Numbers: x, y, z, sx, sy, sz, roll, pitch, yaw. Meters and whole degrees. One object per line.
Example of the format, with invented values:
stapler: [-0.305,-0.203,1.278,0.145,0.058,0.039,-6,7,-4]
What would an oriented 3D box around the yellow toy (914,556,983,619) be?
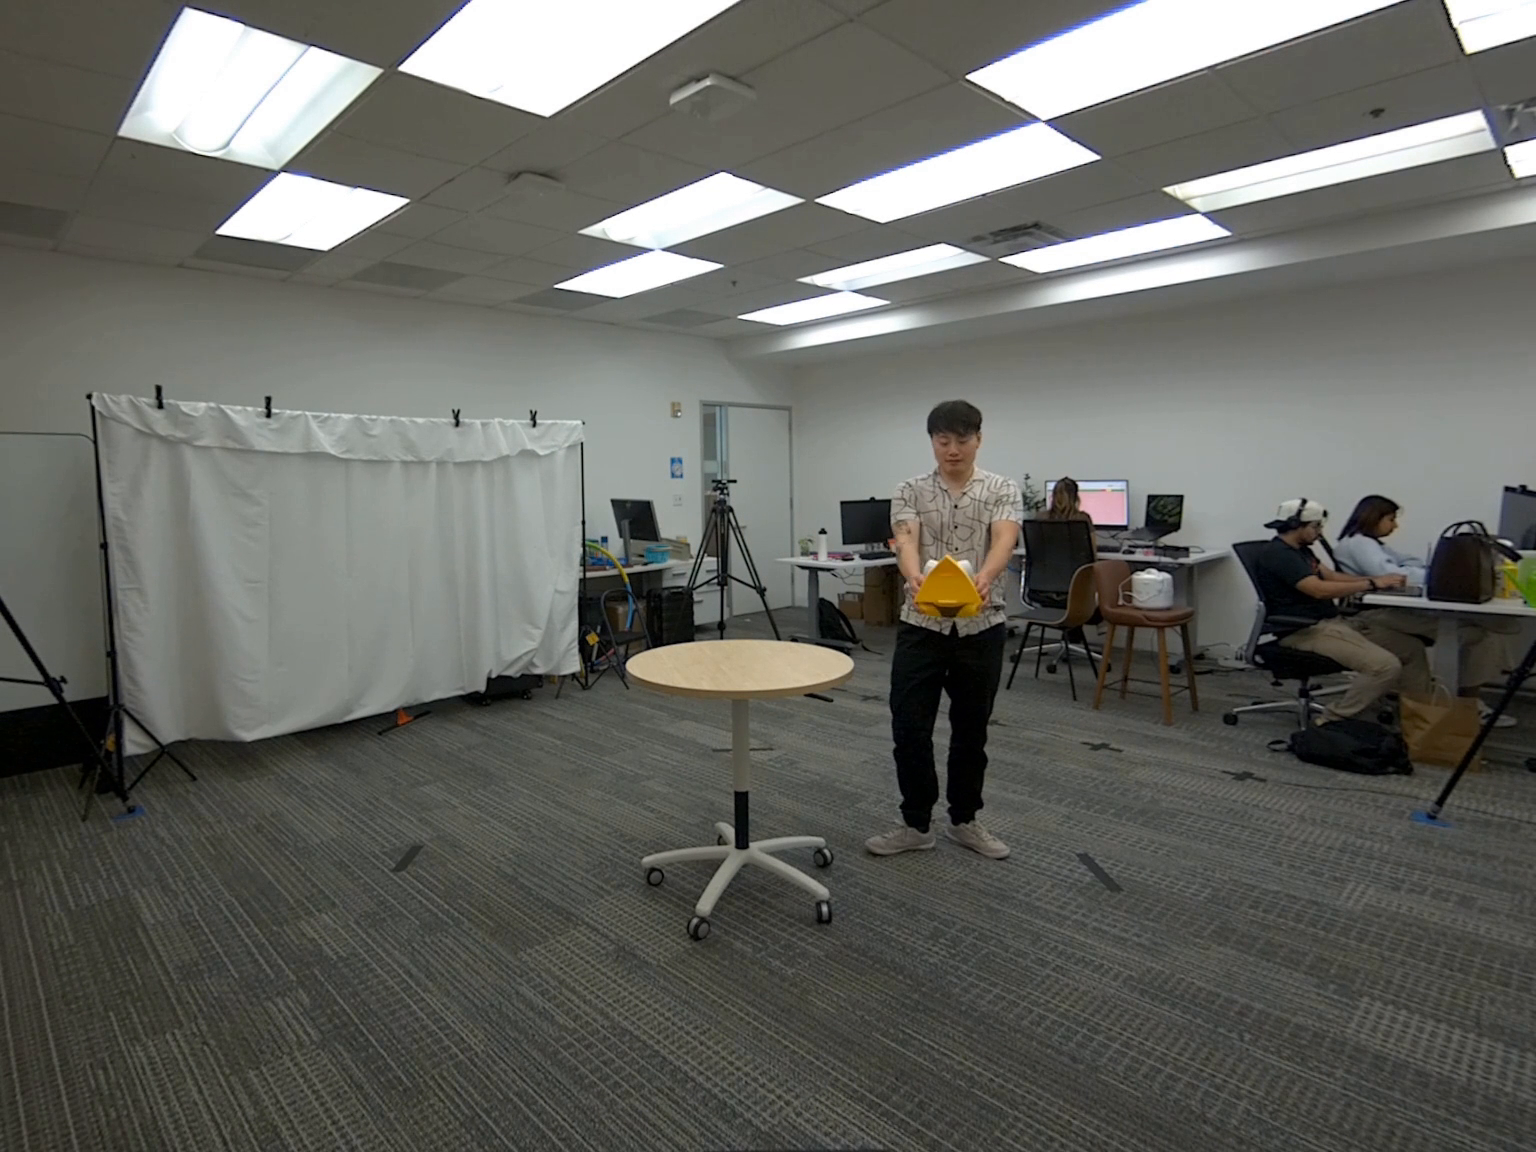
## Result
yellow toy: [0.571,-0.007,2.683,0.208,0.224,0.196,-1,36,17]
